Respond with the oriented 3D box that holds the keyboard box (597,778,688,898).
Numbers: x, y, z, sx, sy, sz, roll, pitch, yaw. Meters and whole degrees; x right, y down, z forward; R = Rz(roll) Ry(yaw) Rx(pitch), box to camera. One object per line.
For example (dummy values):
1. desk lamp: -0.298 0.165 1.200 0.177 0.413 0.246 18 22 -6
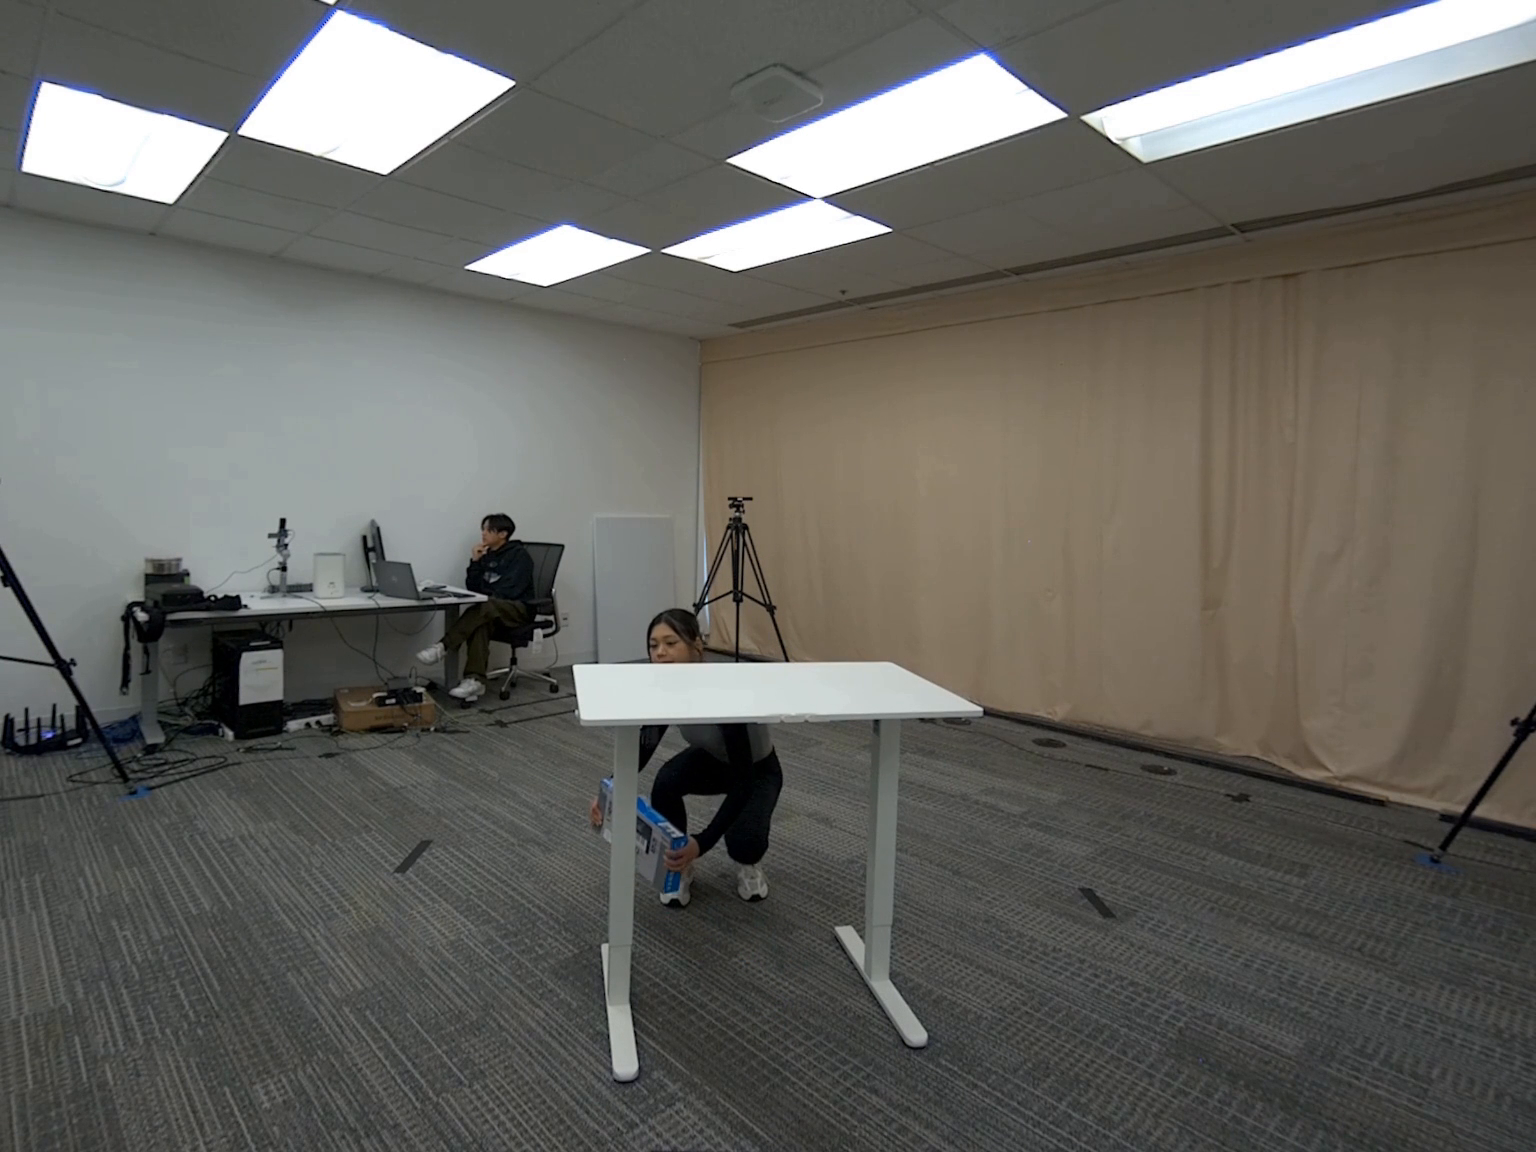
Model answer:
1. keyboard box: -0.418 0.805 2.637 0.057 0.175 0.449 8 8 -39
